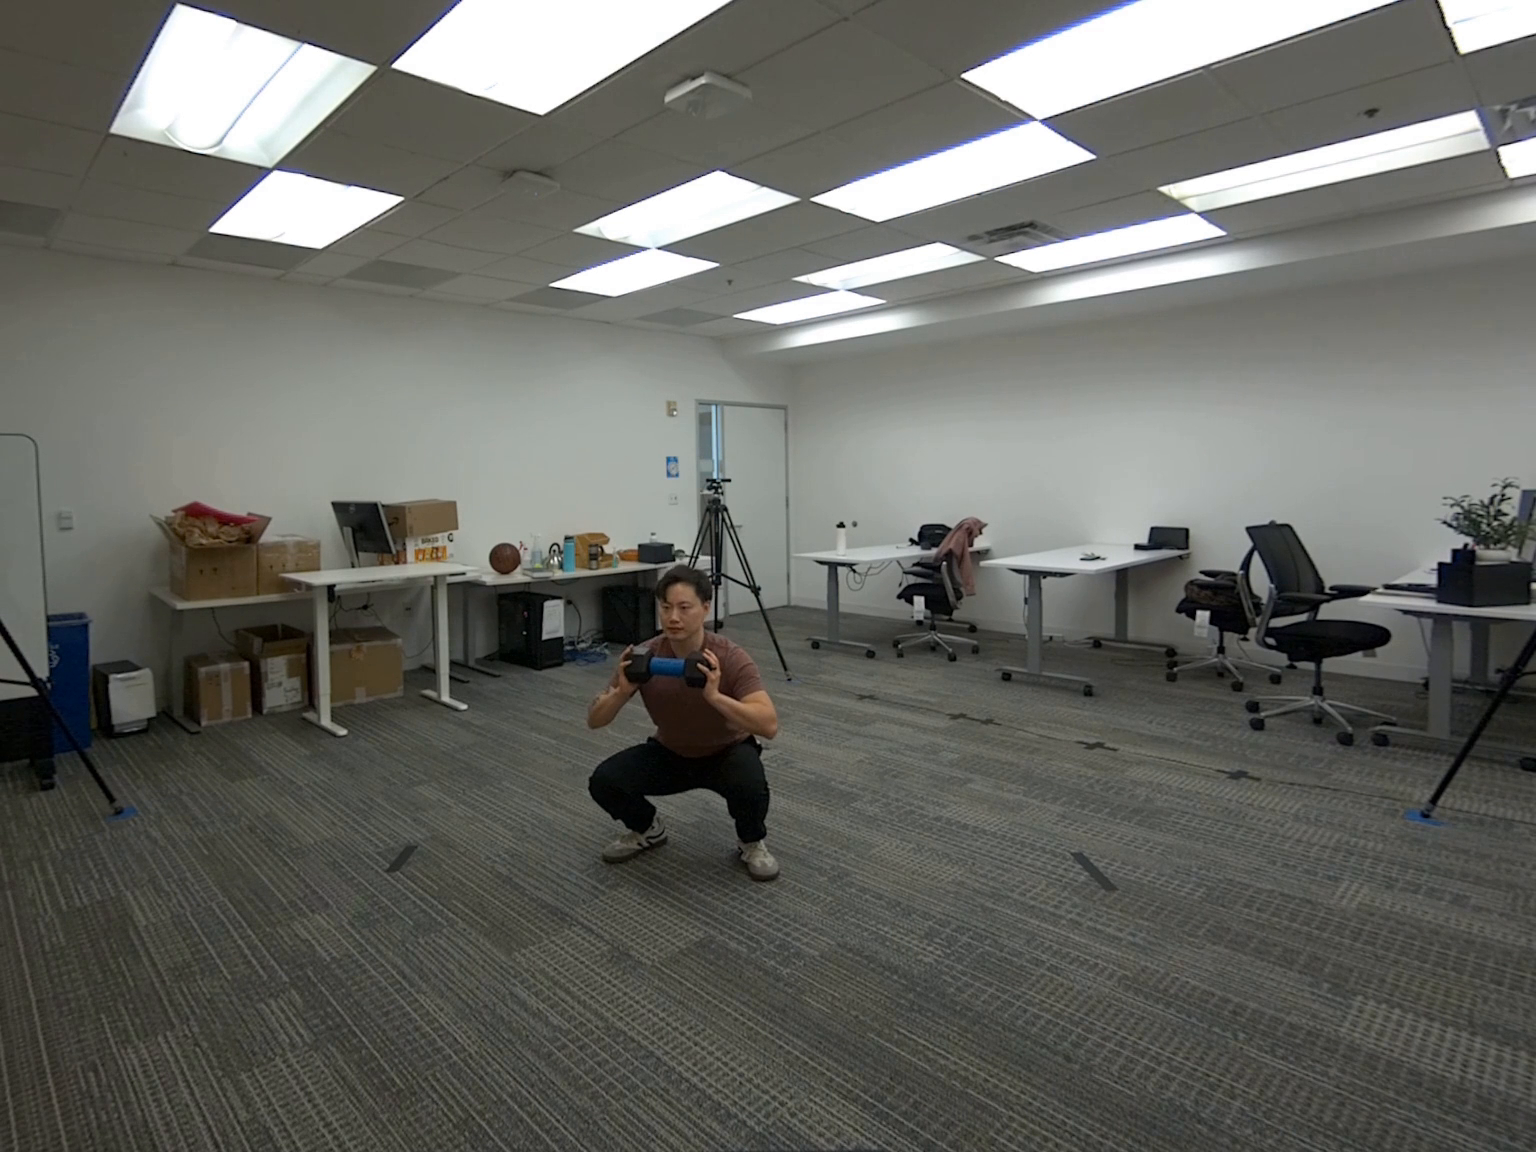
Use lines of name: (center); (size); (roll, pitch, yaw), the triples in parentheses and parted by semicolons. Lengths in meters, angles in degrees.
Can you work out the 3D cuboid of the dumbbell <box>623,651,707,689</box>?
dumbbell: (-0.363, 0.302, 2.897); (0.298, 0.107, 0.123); (8, 17, 13)
